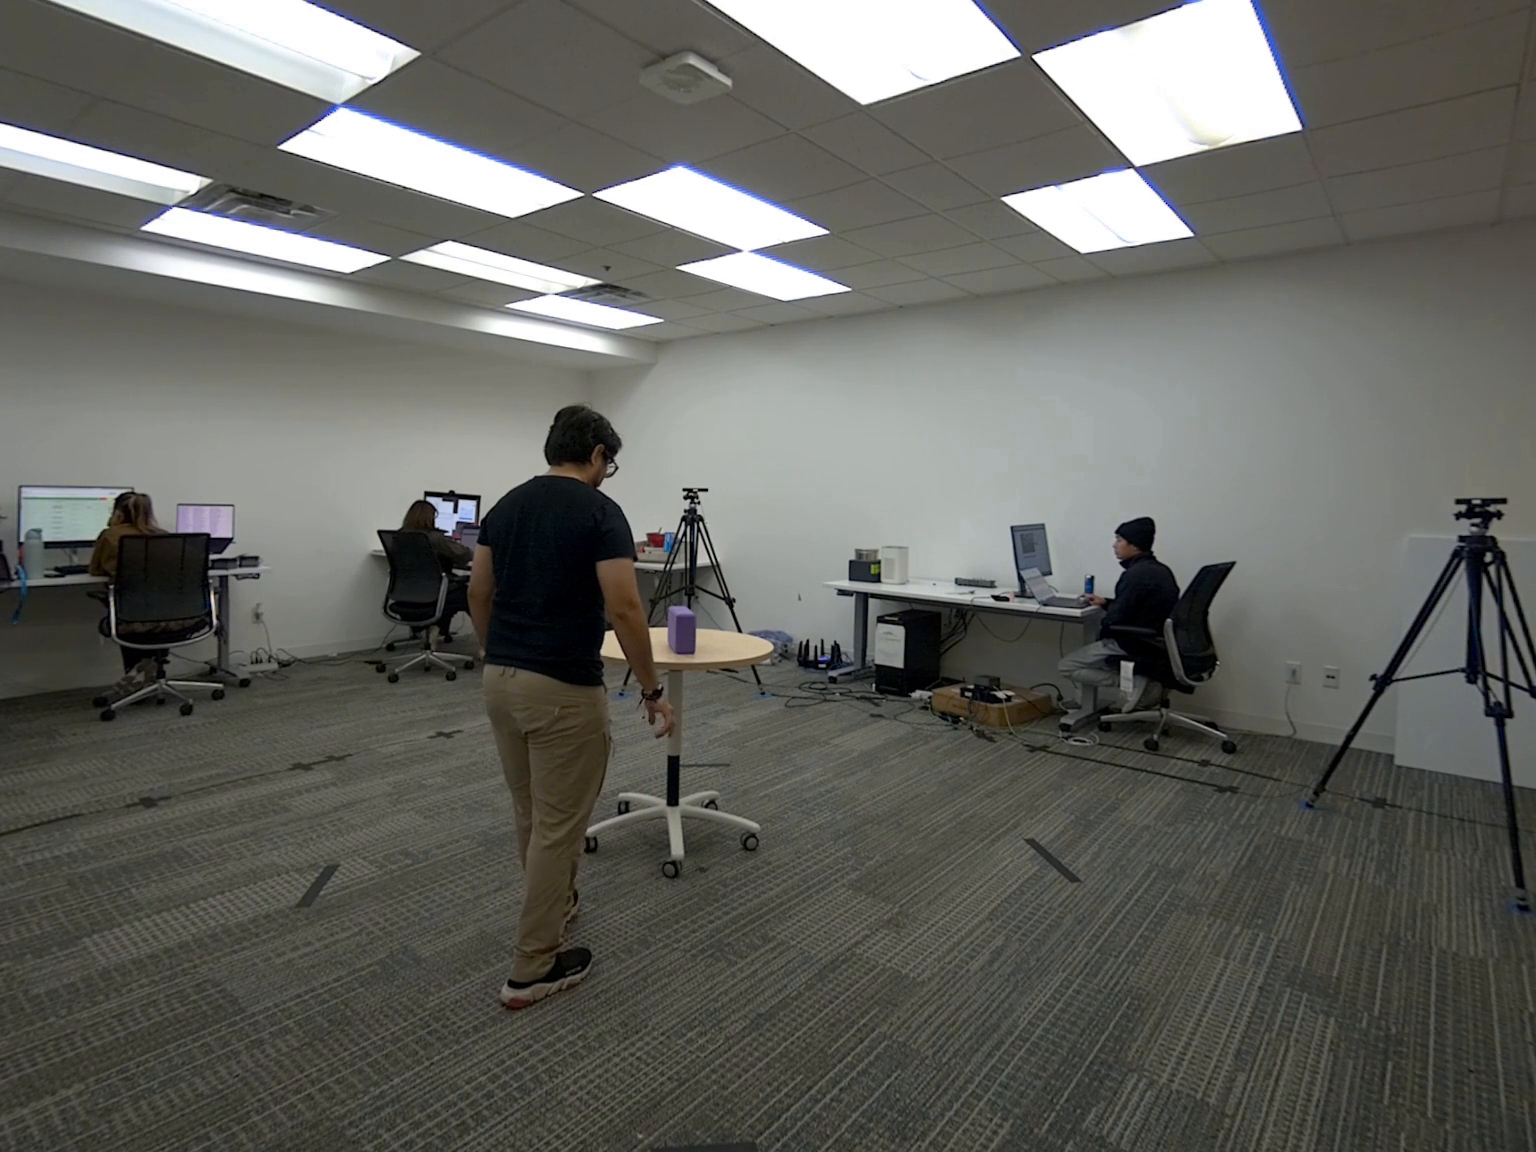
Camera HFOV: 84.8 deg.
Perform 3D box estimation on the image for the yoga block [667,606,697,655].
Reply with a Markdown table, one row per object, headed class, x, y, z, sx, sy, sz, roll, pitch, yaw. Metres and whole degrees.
| class | x | y | z | sx | sy | sz | roll | pitch | yaw |
| --- | --- | --- | --- | --- | --- | --- | --- | --- | --- |
| yoga block | -0.343 | 0.198 | 3.218 | 0.075 | 0.148 | 0.232 | 0 | 5 | -11 |
